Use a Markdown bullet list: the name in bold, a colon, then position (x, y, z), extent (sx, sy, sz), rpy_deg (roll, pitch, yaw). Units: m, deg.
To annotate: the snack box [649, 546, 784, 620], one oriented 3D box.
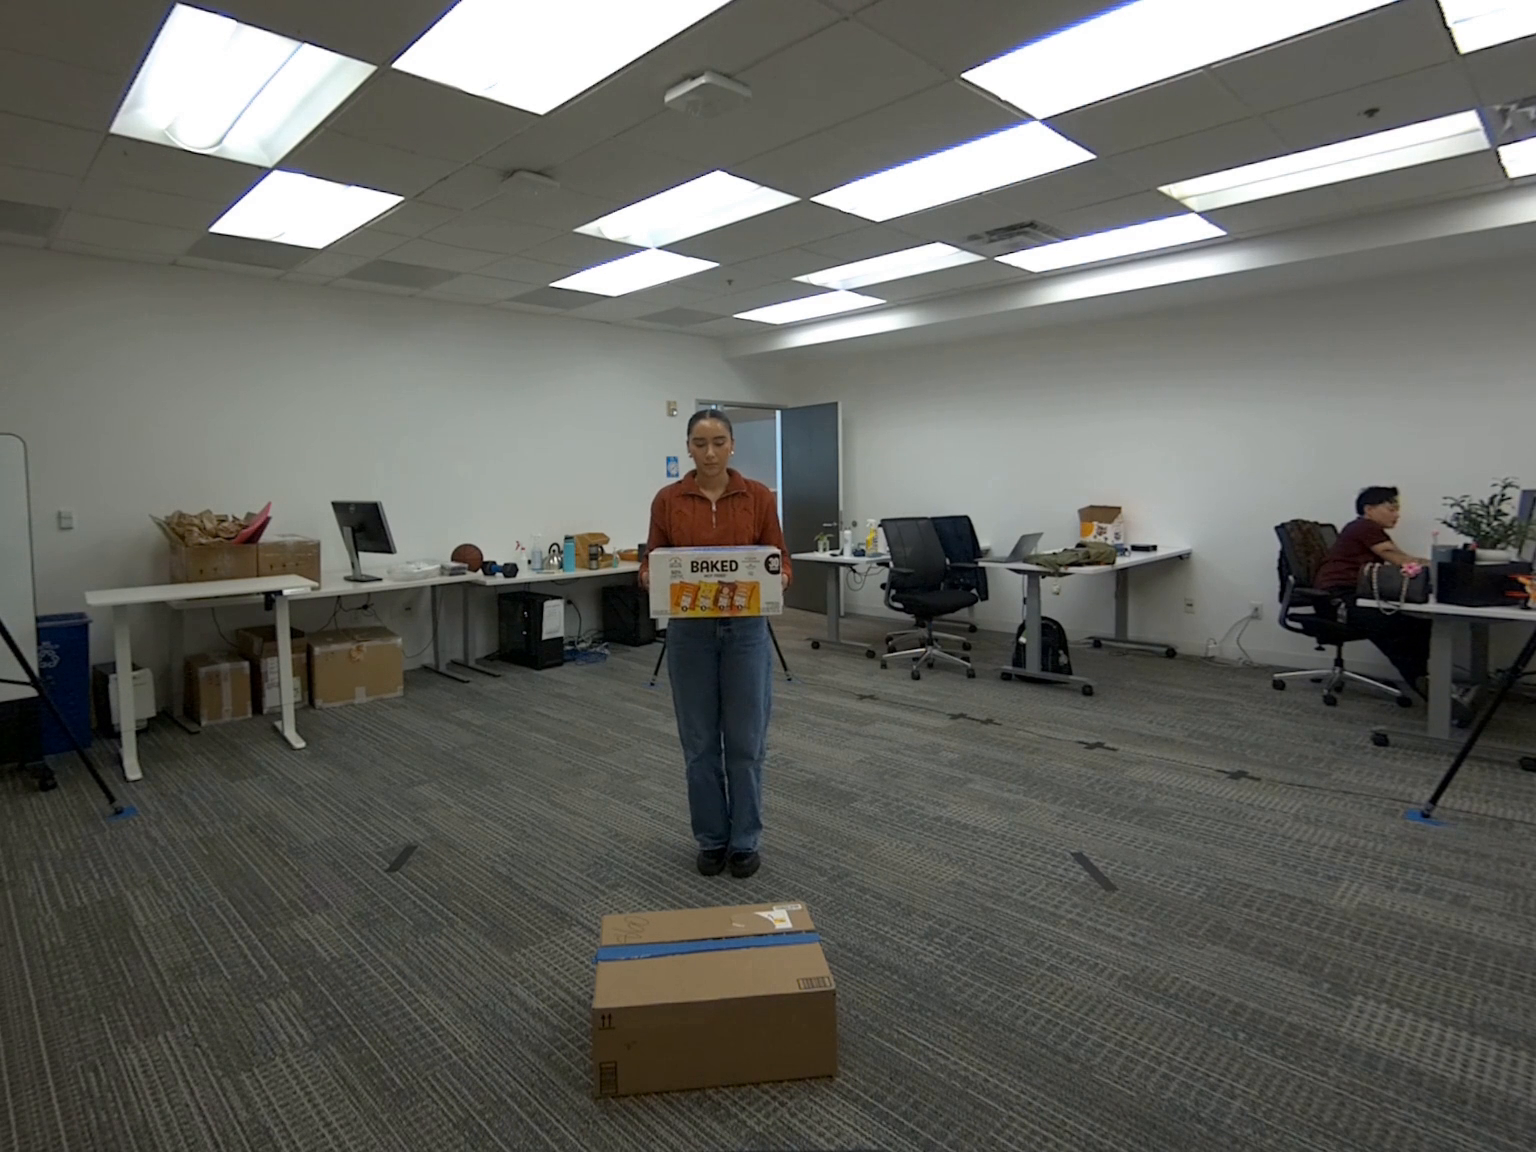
- **snack box**: position (-0.177, 0.015, 2.790), extent (0.405, 0.205, 0.342), rpy_deg (-1, 4, -1)
